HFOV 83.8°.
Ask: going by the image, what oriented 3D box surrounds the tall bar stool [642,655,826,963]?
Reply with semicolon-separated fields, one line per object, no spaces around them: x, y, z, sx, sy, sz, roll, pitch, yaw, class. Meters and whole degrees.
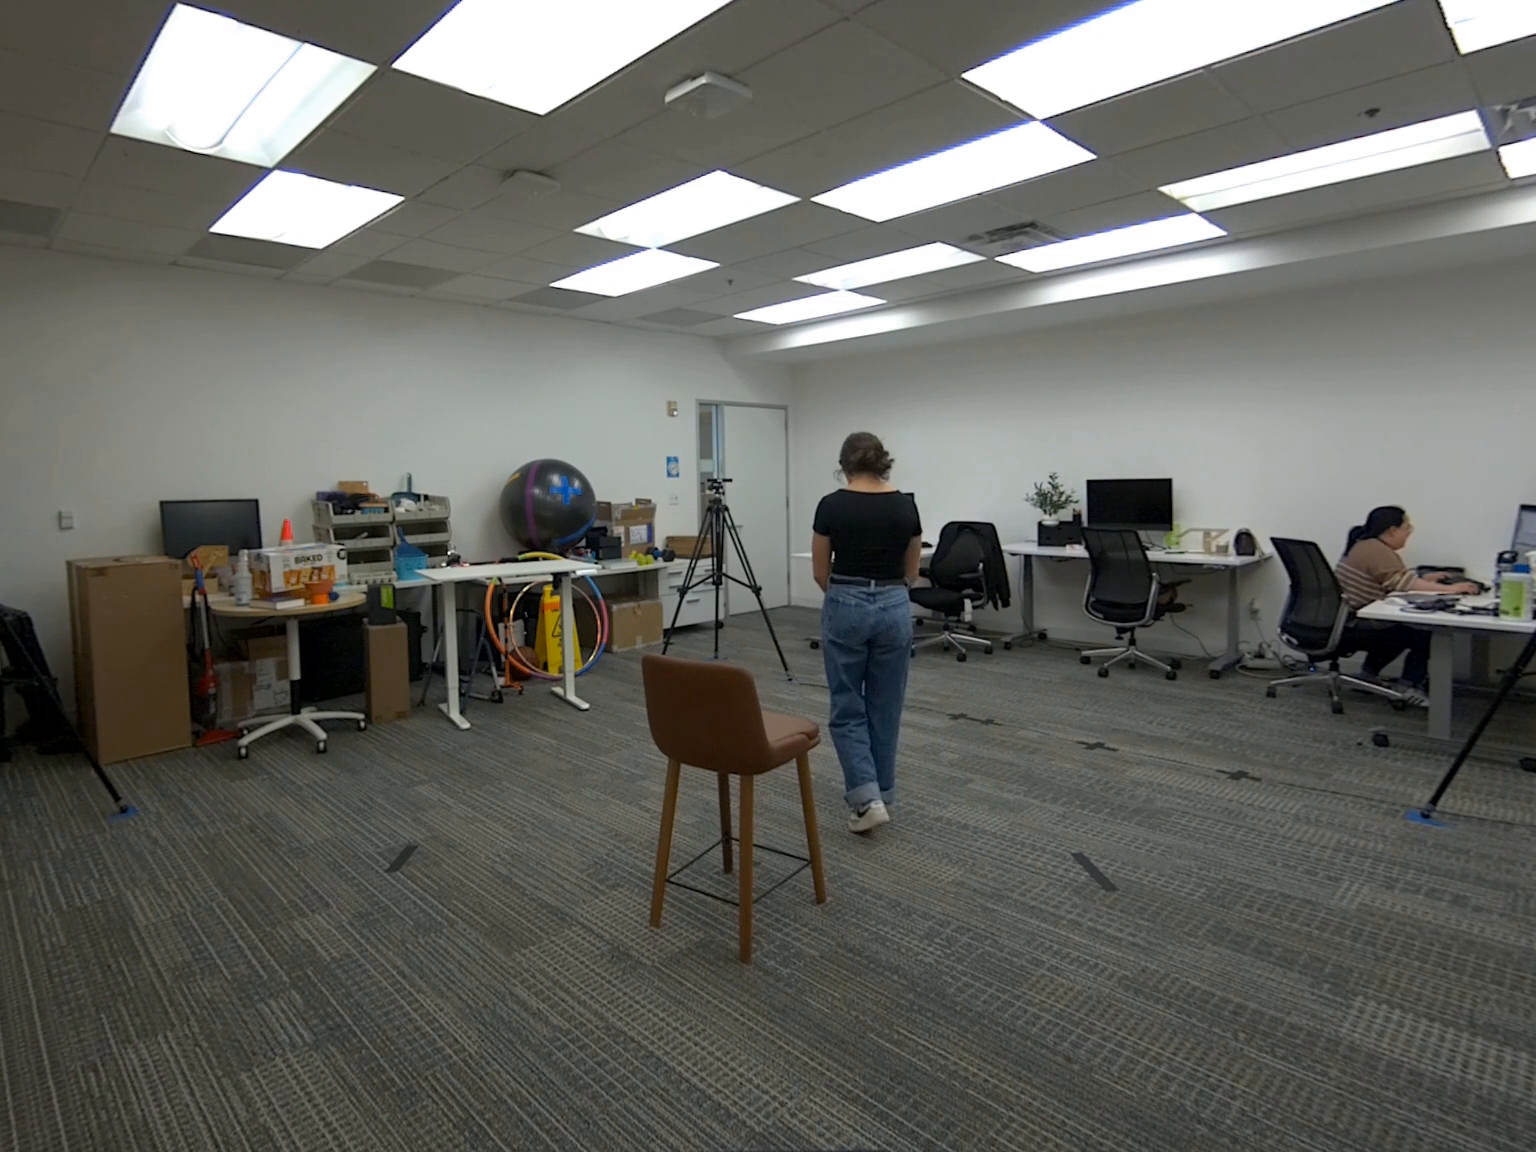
-0.106;0.655;2.724;0.470;0.885;0.457;2;7;35;tall bar stool
